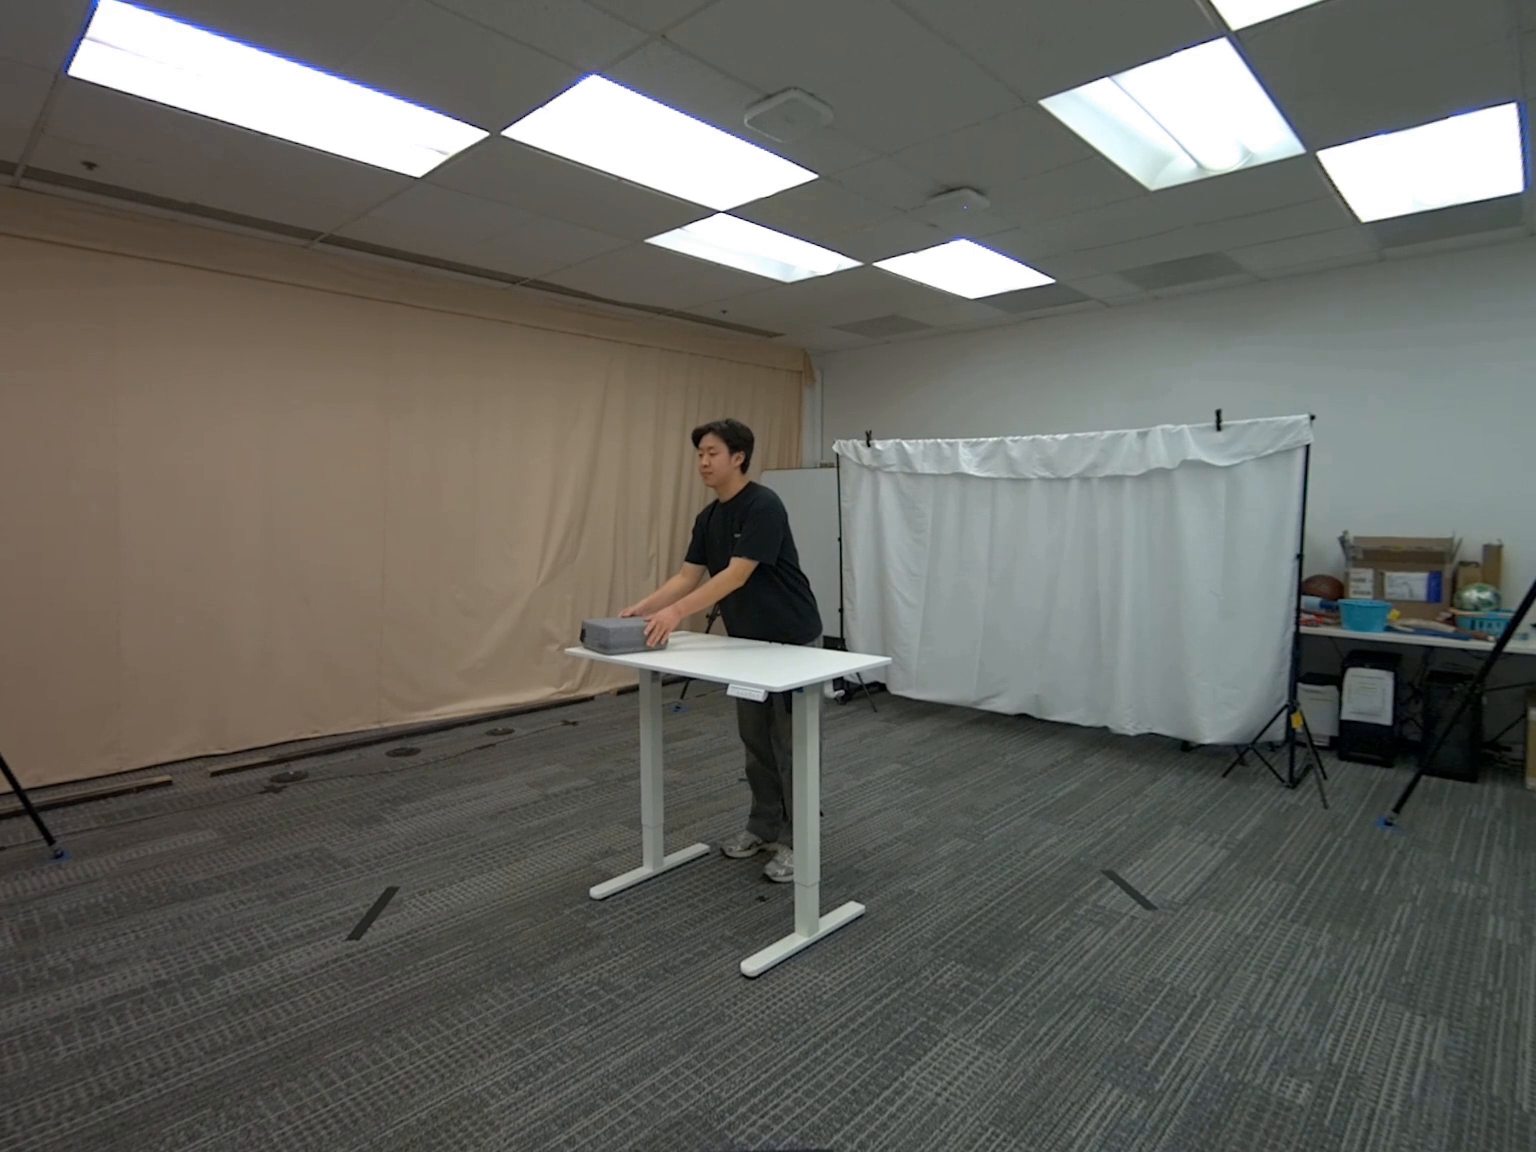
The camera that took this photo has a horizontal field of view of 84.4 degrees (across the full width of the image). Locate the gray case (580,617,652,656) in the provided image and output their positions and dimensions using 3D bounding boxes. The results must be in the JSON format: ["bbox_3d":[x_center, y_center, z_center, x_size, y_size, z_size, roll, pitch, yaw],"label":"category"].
[{"bbox_3d":[-0.521,0.213,3.036,0.253,0.104,0.264,-3,3,-32],"label":"gray case"}]
